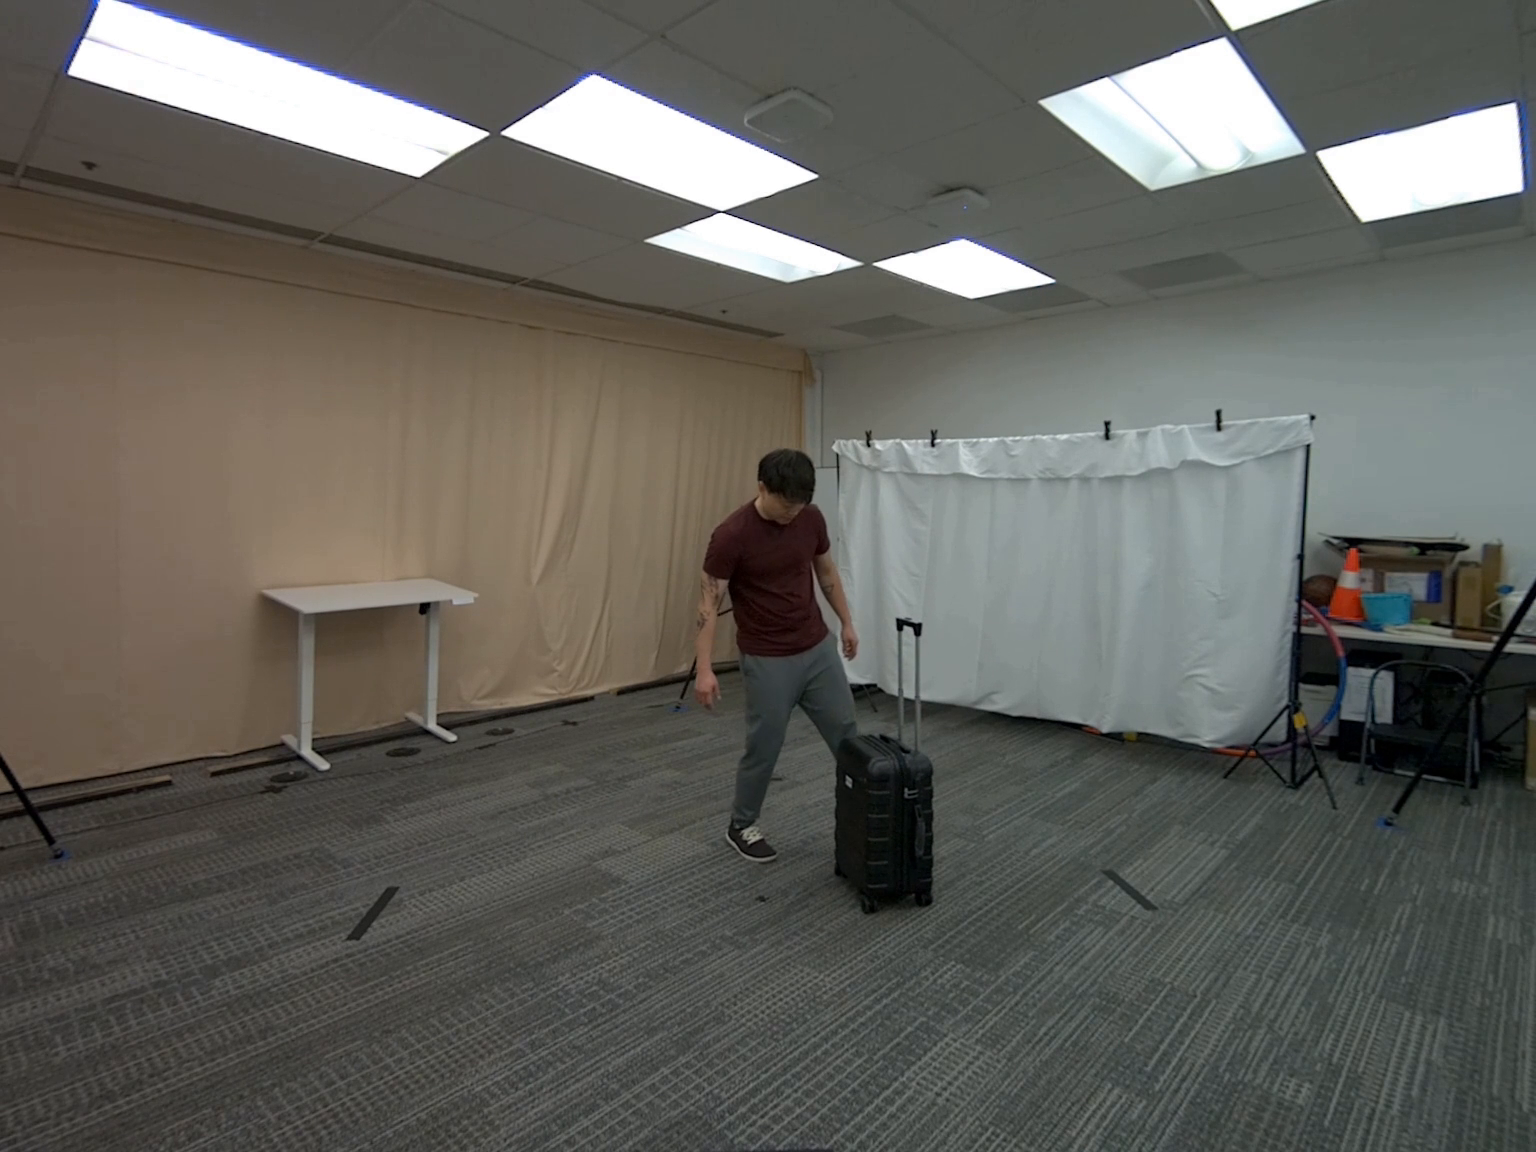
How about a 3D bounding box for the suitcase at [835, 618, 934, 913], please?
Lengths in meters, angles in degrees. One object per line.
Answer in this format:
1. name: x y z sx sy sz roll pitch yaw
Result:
1. suitcase: 0.422 0.667 3.000 0.253 0.976 0.390 0 4 -14
